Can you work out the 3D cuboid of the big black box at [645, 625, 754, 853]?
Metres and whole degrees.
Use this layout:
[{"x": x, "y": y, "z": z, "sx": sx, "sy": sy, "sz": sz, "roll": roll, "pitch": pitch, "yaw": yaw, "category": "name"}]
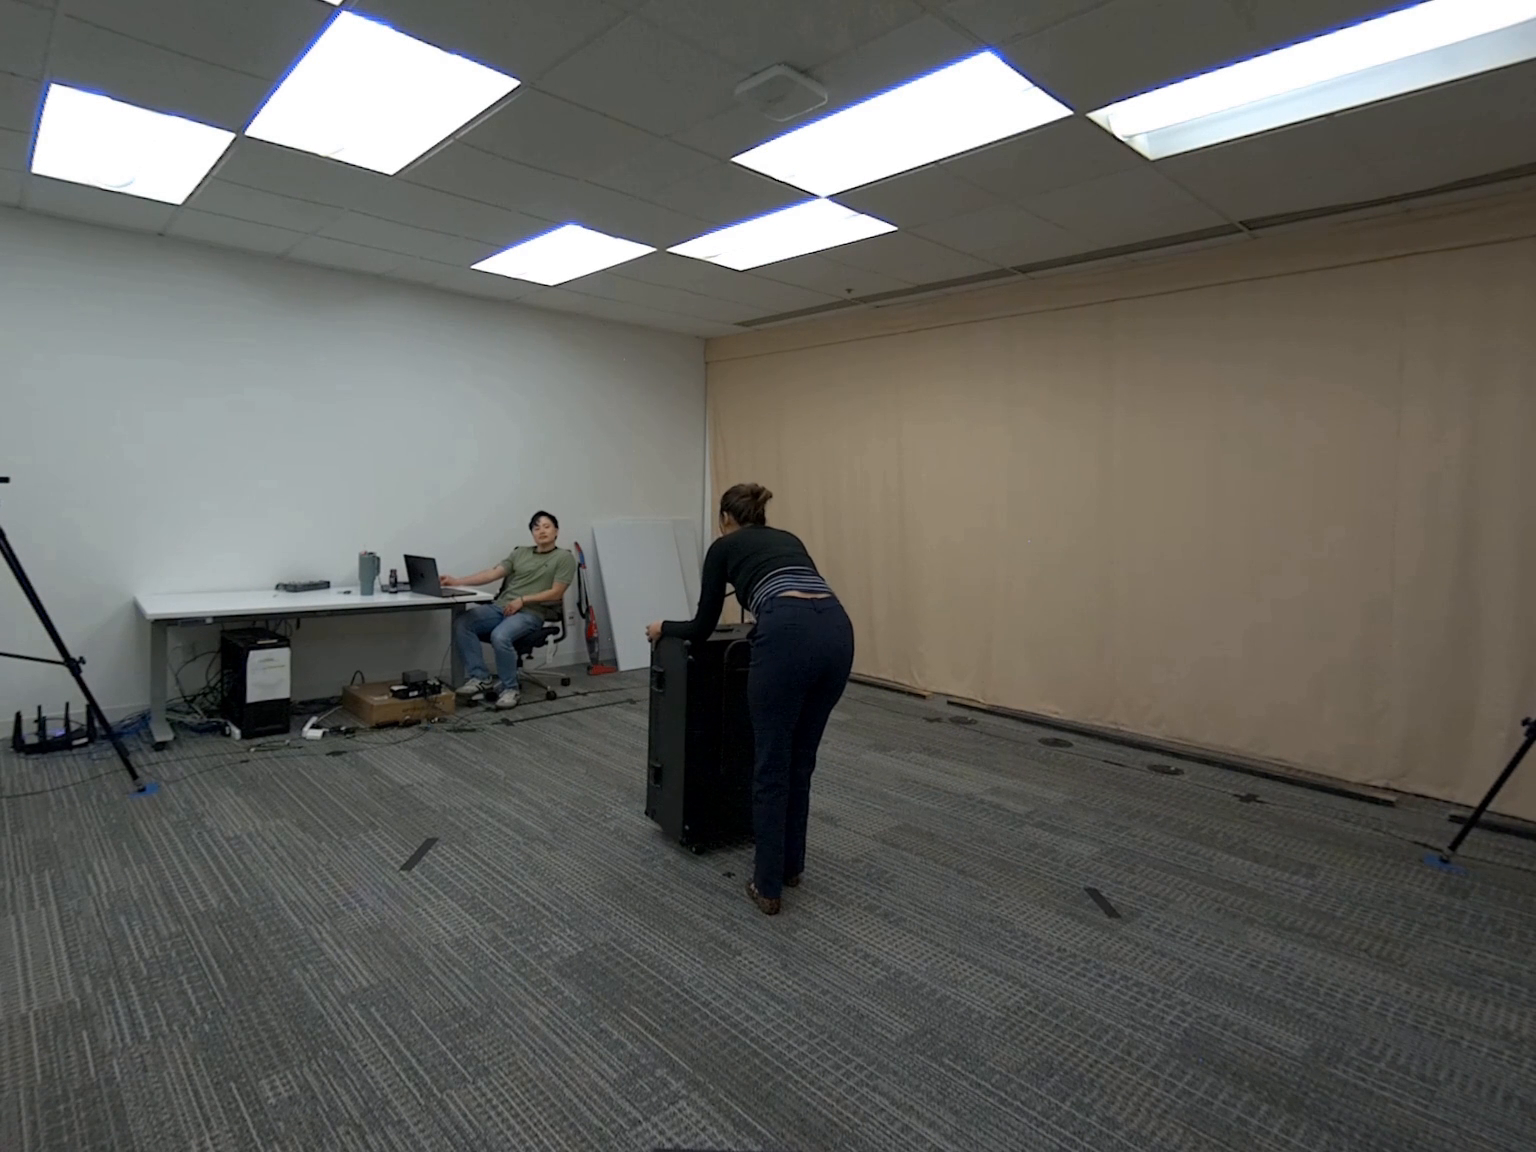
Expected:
[{"x": -0.193, "y": 0.649, "z": 3.420, "sx": 0.511, "sy": 0.859, "sz": 0.405, "roll": 0, "pitch": 5, "yaw": -29, "category": "big black box"}]
